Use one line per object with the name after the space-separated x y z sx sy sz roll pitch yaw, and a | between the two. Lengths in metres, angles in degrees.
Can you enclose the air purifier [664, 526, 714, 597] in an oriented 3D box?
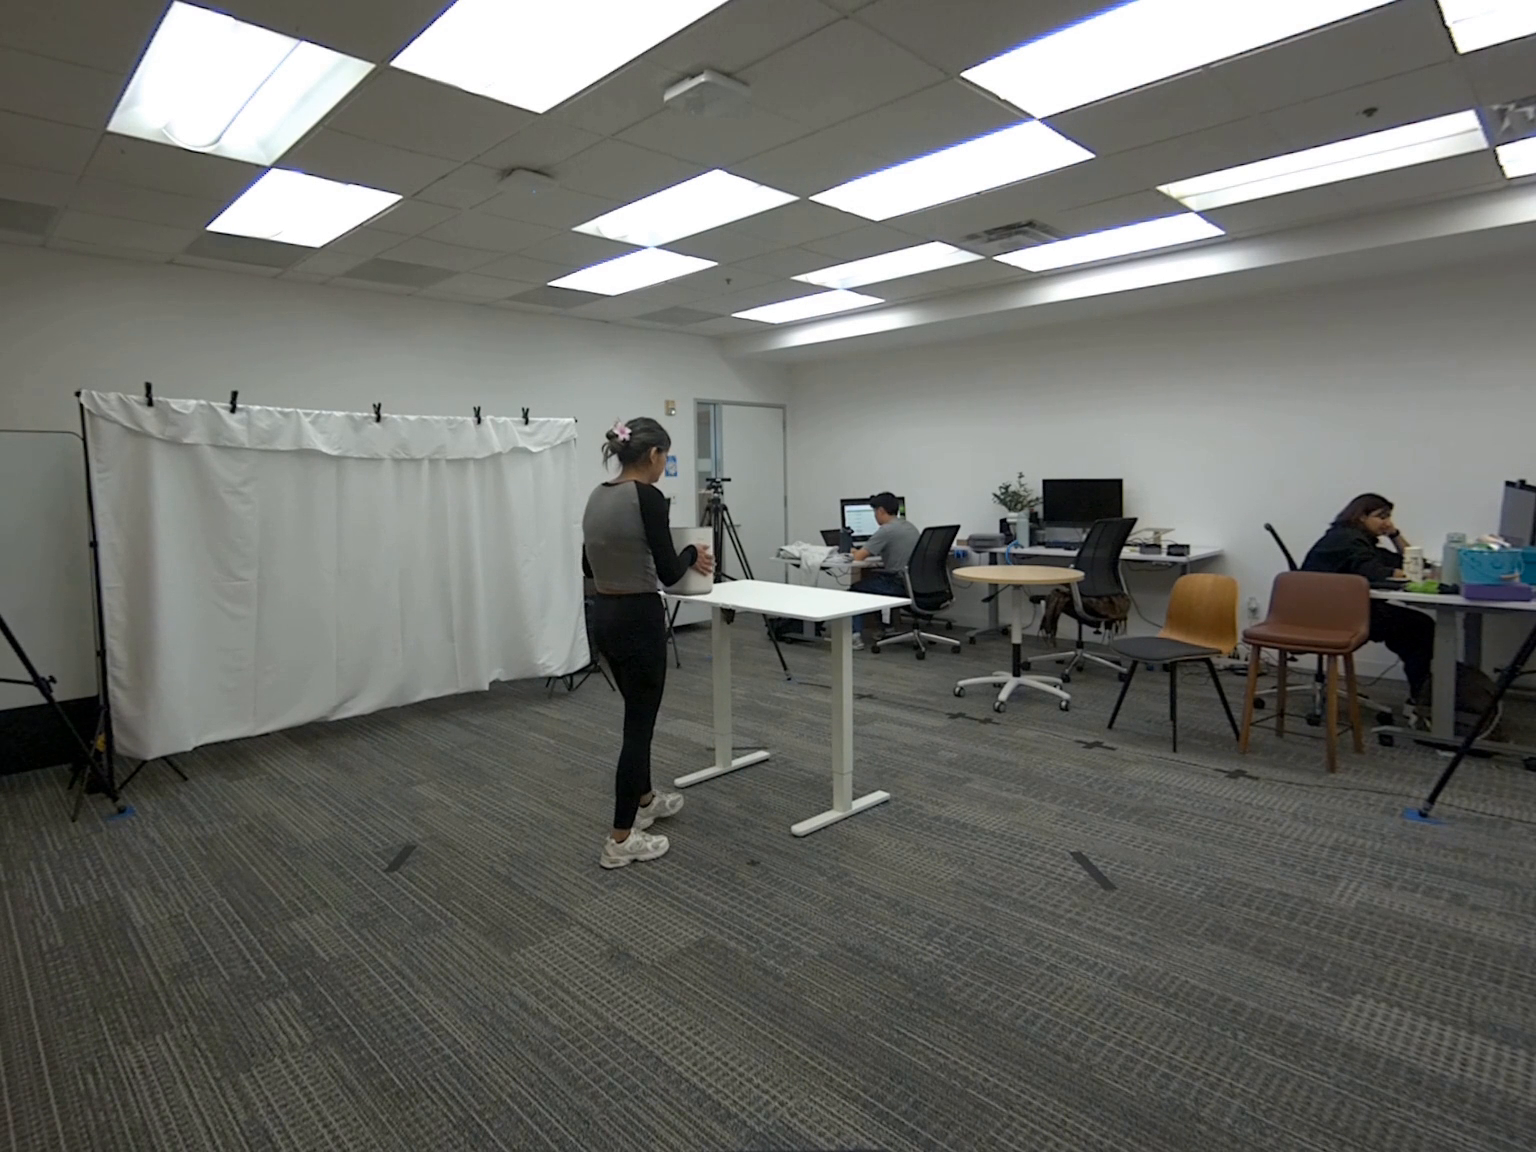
-0.315 -0.059 3.354 0.176 0.265 0.166 0 1 42 | air purifier
